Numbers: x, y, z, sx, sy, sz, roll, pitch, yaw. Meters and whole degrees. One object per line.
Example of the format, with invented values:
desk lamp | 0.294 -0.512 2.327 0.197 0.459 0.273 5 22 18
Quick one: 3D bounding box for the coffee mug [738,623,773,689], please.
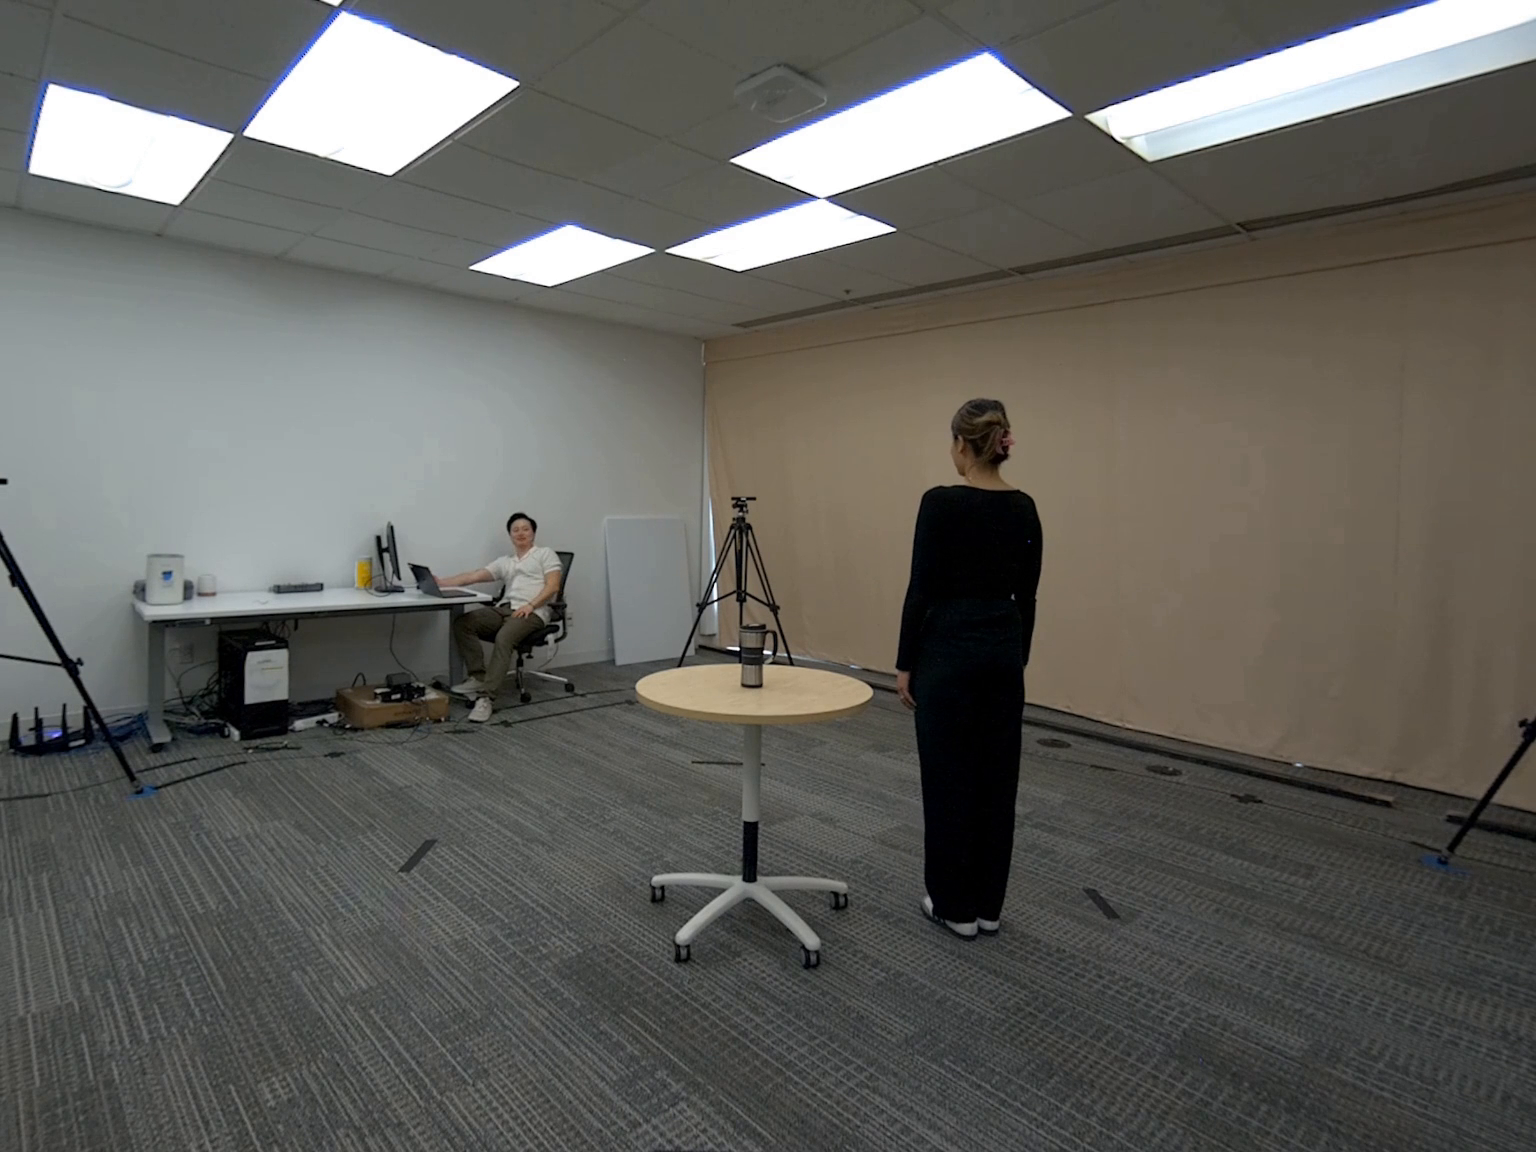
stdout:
coffee mug | -0.037 0.261 2.723 0.125 0.204 0.085 -2 -6 42
